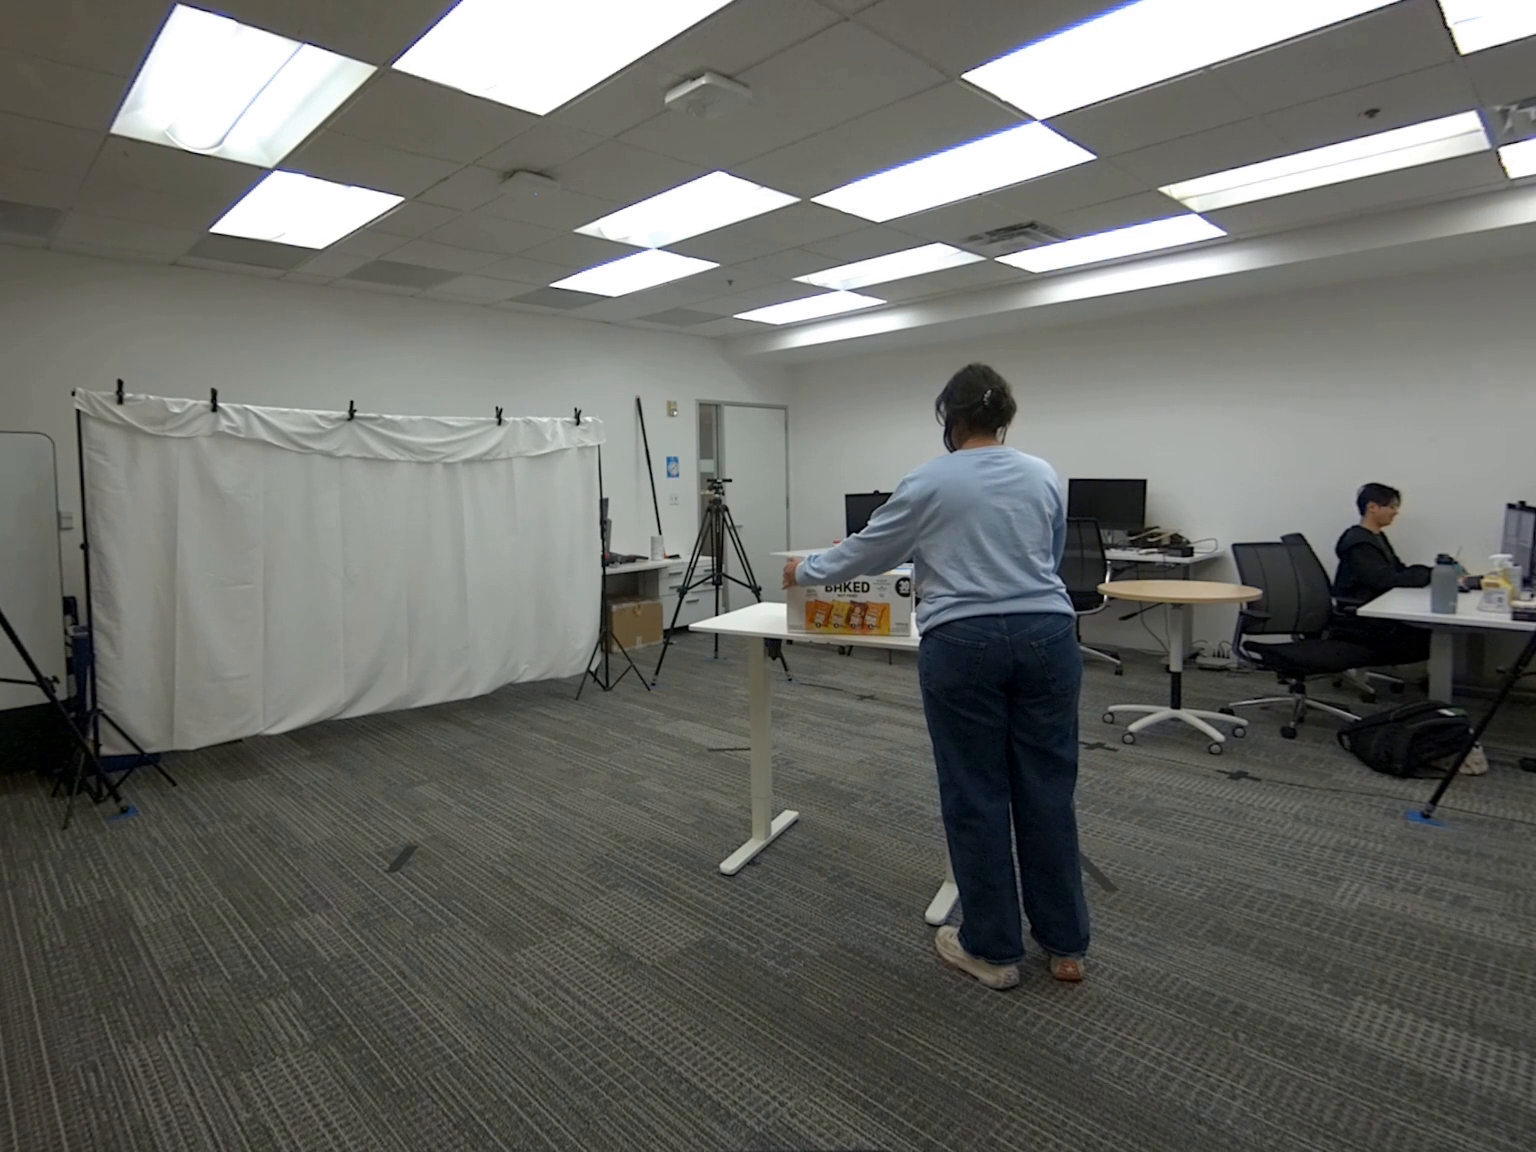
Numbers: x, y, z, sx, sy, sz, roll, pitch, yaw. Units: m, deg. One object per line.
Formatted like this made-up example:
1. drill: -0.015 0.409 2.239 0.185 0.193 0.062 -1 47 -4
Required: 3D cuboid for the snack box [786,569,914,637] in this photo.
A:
1. snack box: 0.296 0.071 2.953 0.411 0.204 0.337 1 7 13
